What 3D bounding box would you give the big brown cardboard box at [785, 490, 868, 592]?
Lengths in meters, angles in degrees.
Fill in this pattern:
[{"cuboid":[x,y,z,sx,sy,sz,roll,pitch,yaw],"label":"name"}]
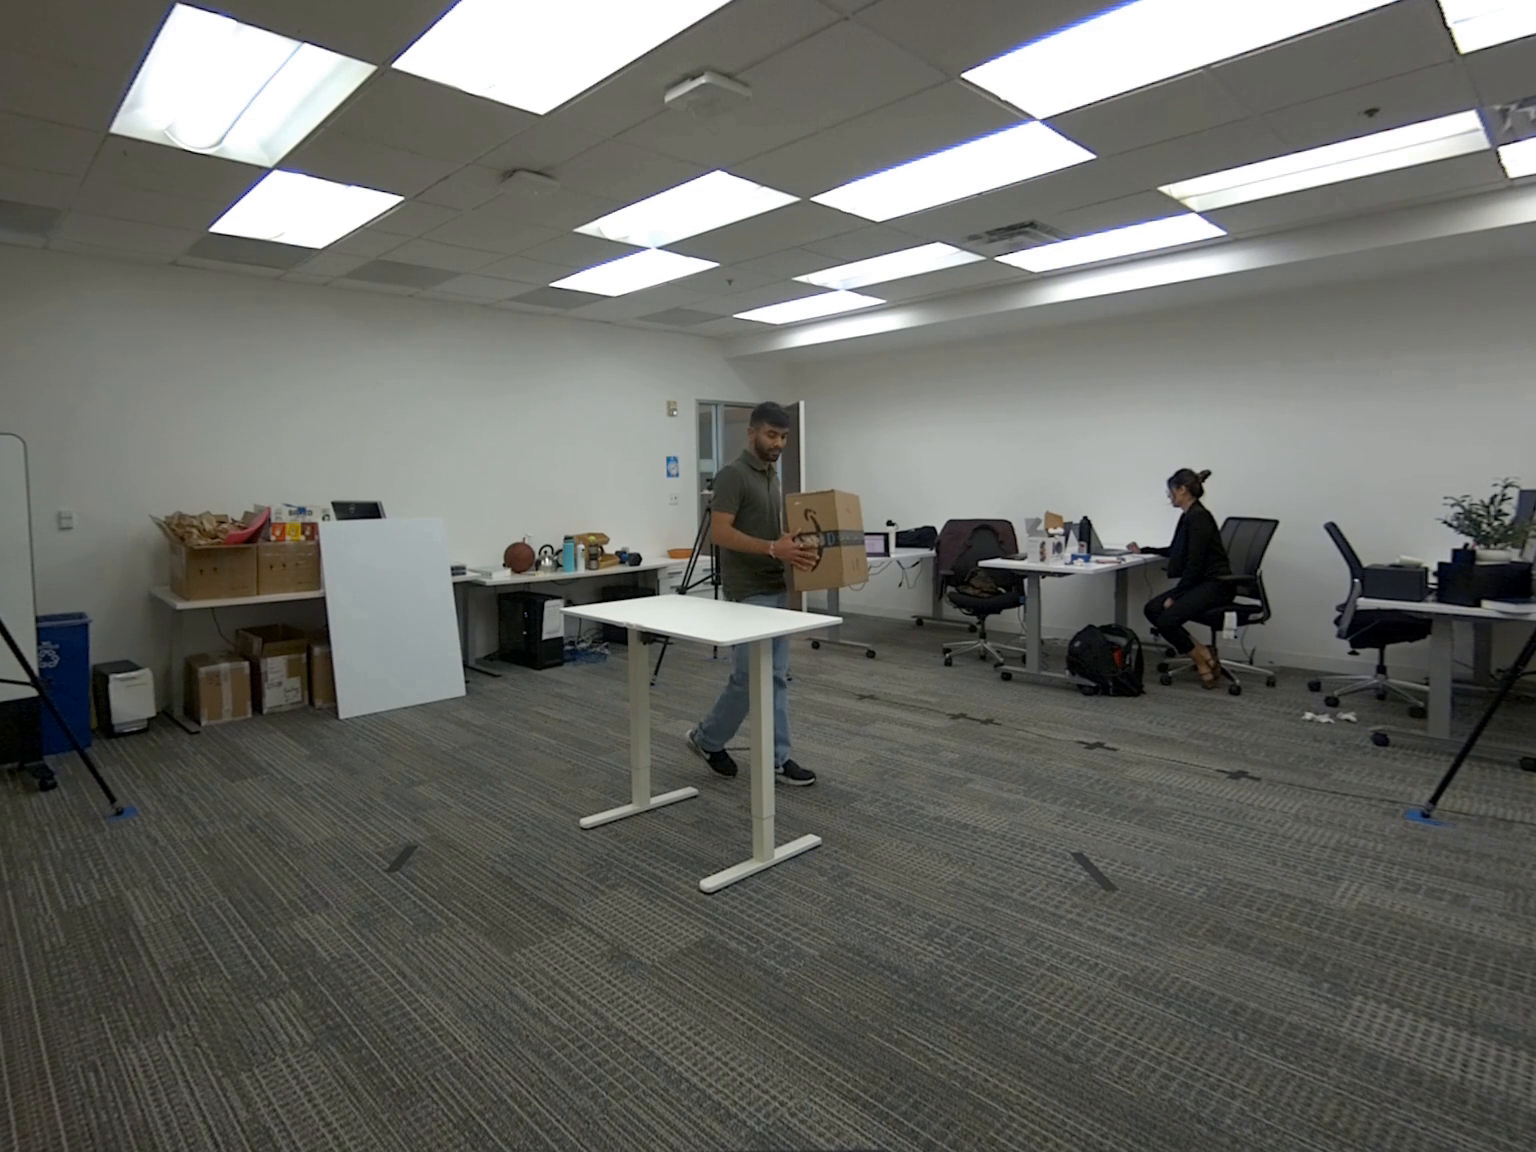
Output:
[{"cuboid":[0.264,-0.159,3.846,0.237,0.418,0.578,-5,-1,19],"label":"big brown cardboard box"}]
